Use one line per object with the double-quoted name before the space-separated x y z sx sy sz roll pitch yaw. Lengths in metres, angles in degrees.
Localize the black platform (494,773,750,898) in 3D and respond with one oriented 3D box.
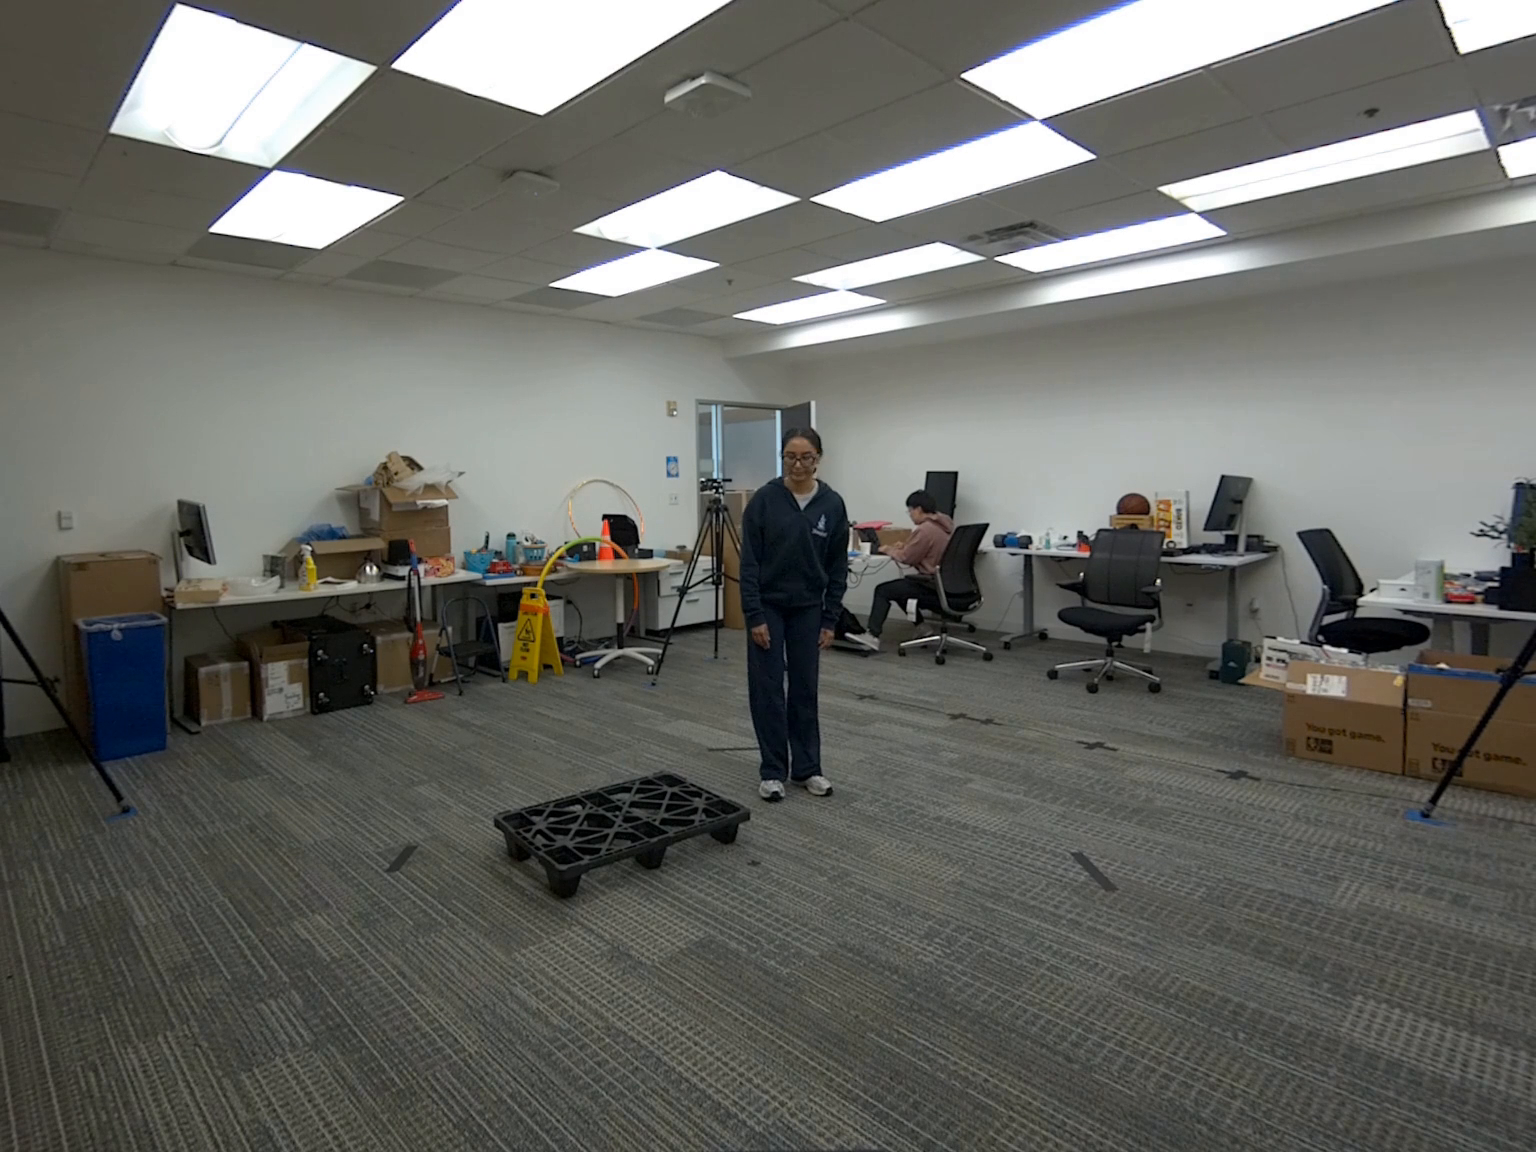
"black platform" -0.548 0.969 3.259 0.785 0.142 0.624 -6 8 -37
